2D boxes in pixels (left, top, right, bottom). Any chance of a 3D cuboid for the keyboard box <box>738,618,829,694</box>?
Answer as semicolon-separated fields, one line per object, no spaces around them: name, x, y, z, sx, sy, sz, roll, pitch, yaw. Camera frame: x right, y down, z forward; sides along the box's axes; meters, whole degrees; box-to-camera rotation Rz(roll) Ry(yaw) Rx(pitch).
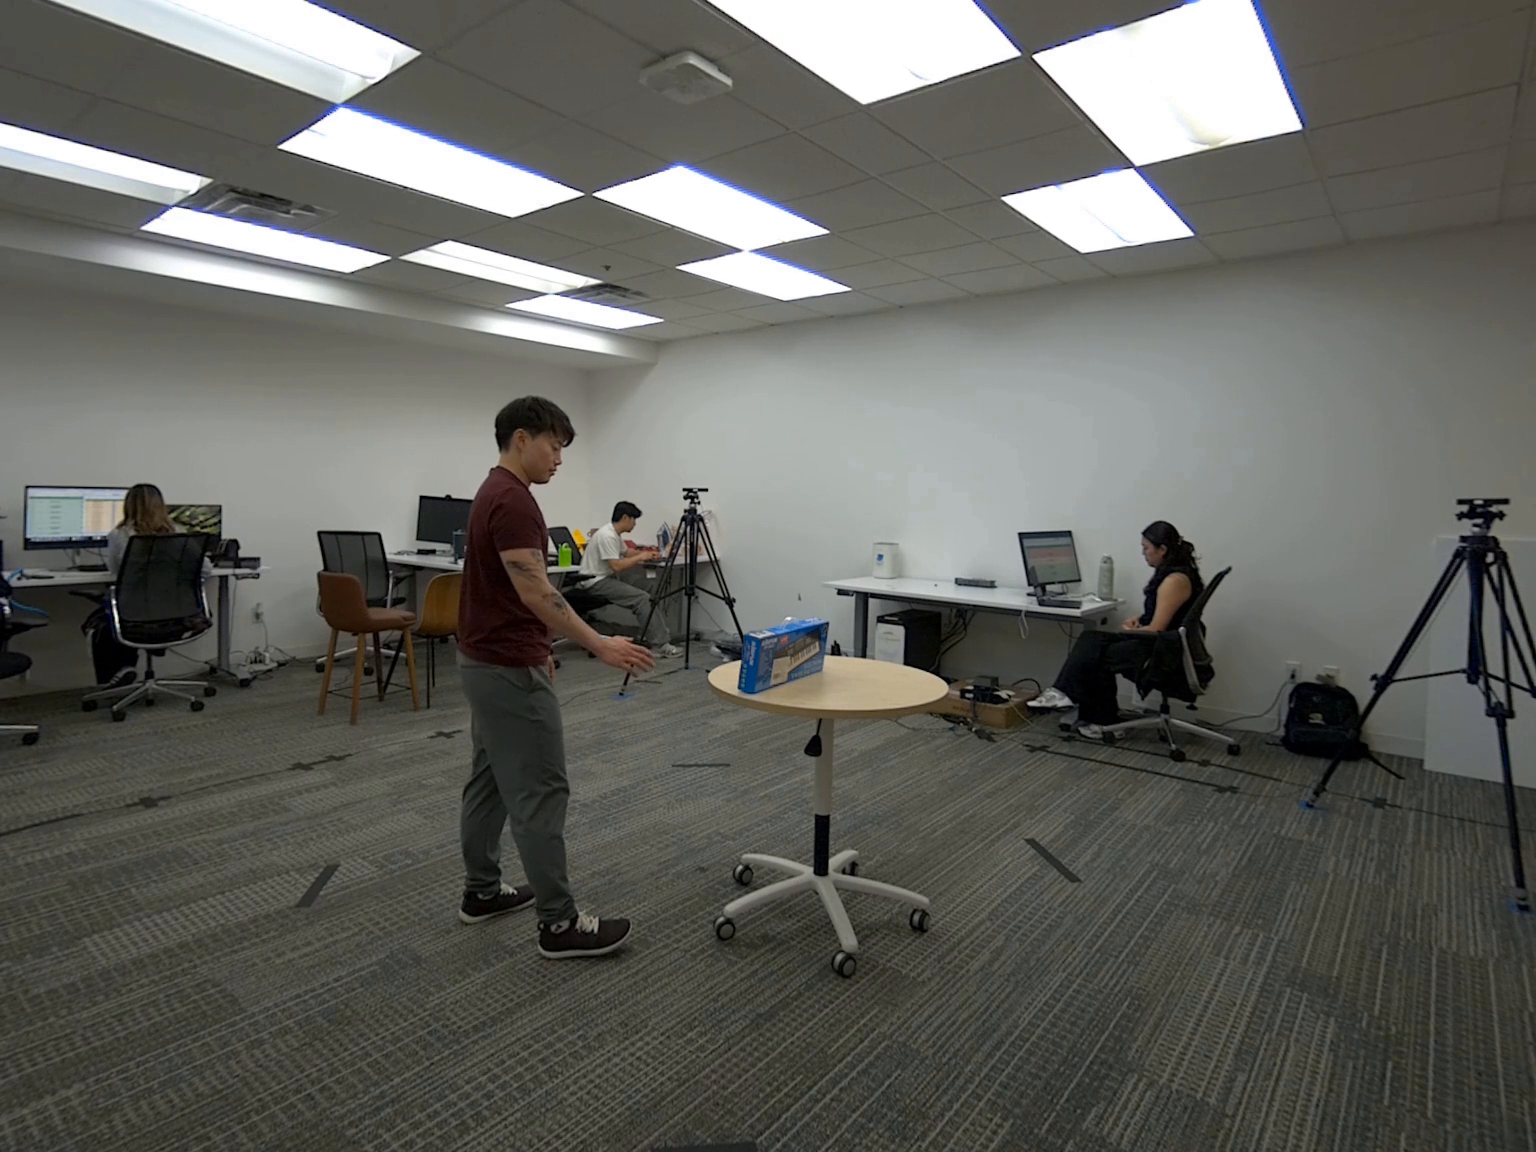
keyboard box;0.049;0.251;2.697;0.061;0.175;0.425;10;10;32
